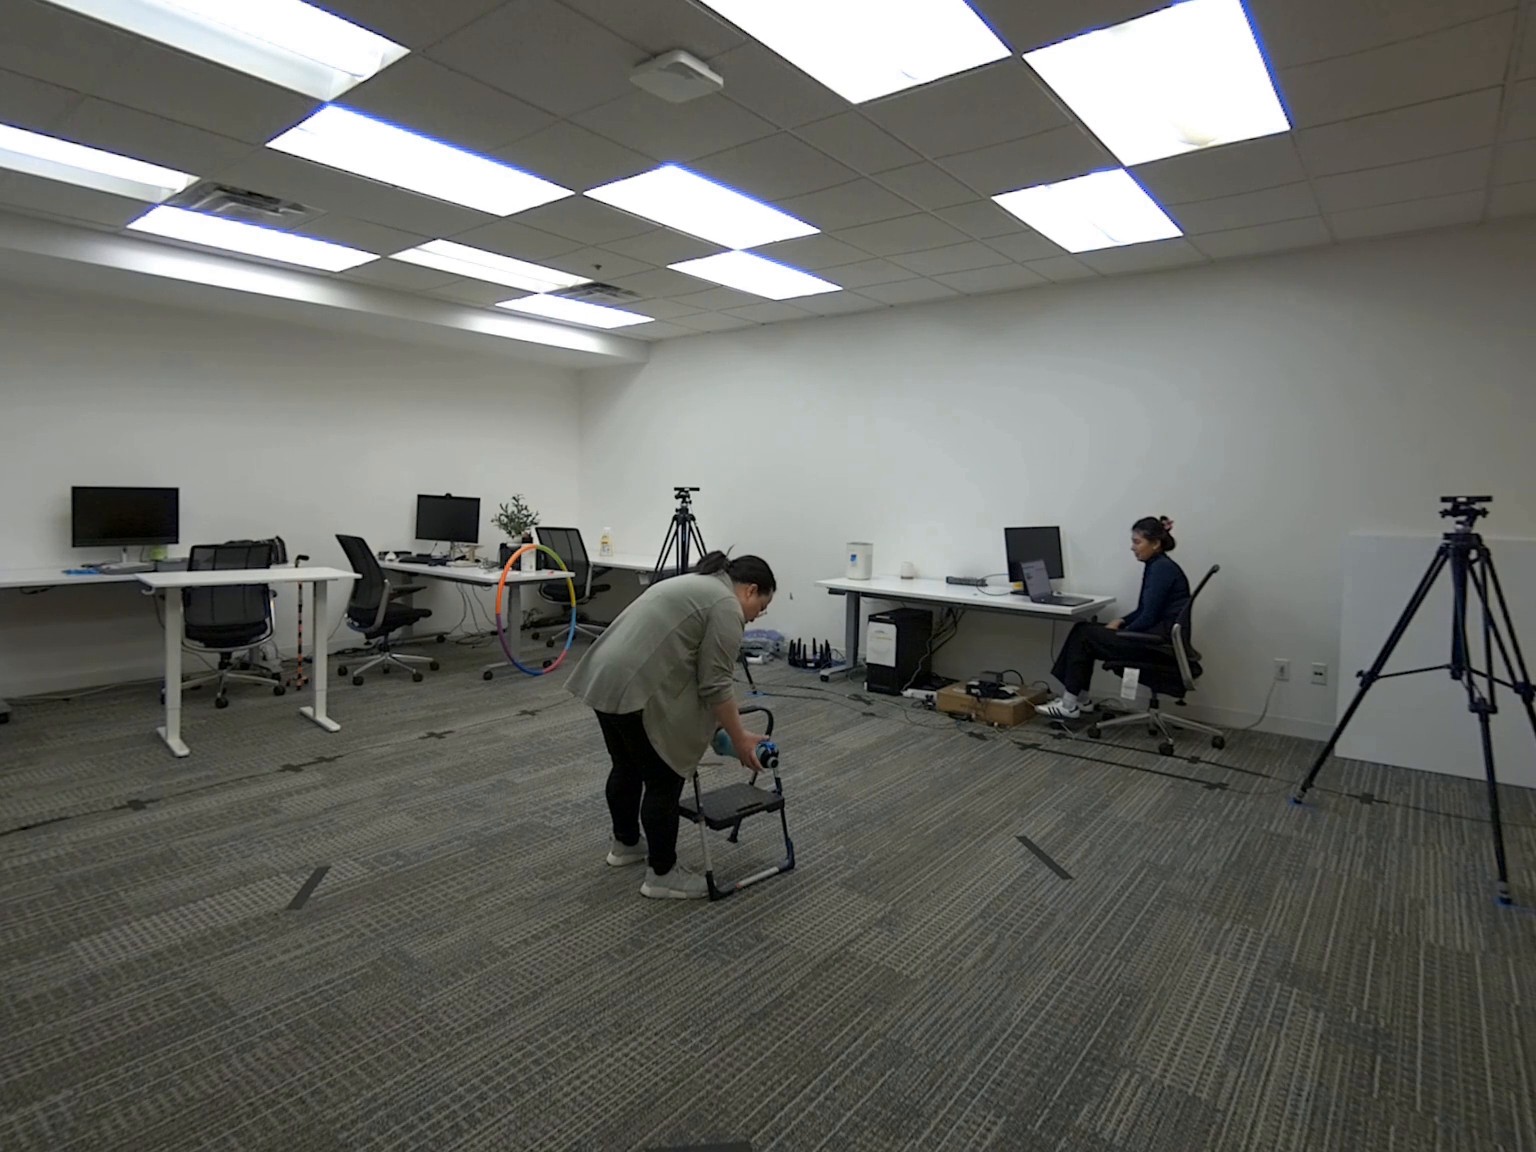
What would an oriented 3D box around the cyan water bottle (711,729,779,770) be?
[{"bbox_3d":[-0.078,0.604,2.962,0.089,0.092,0.293,-3,4,-41],"label":"cyan water bottle"}]
